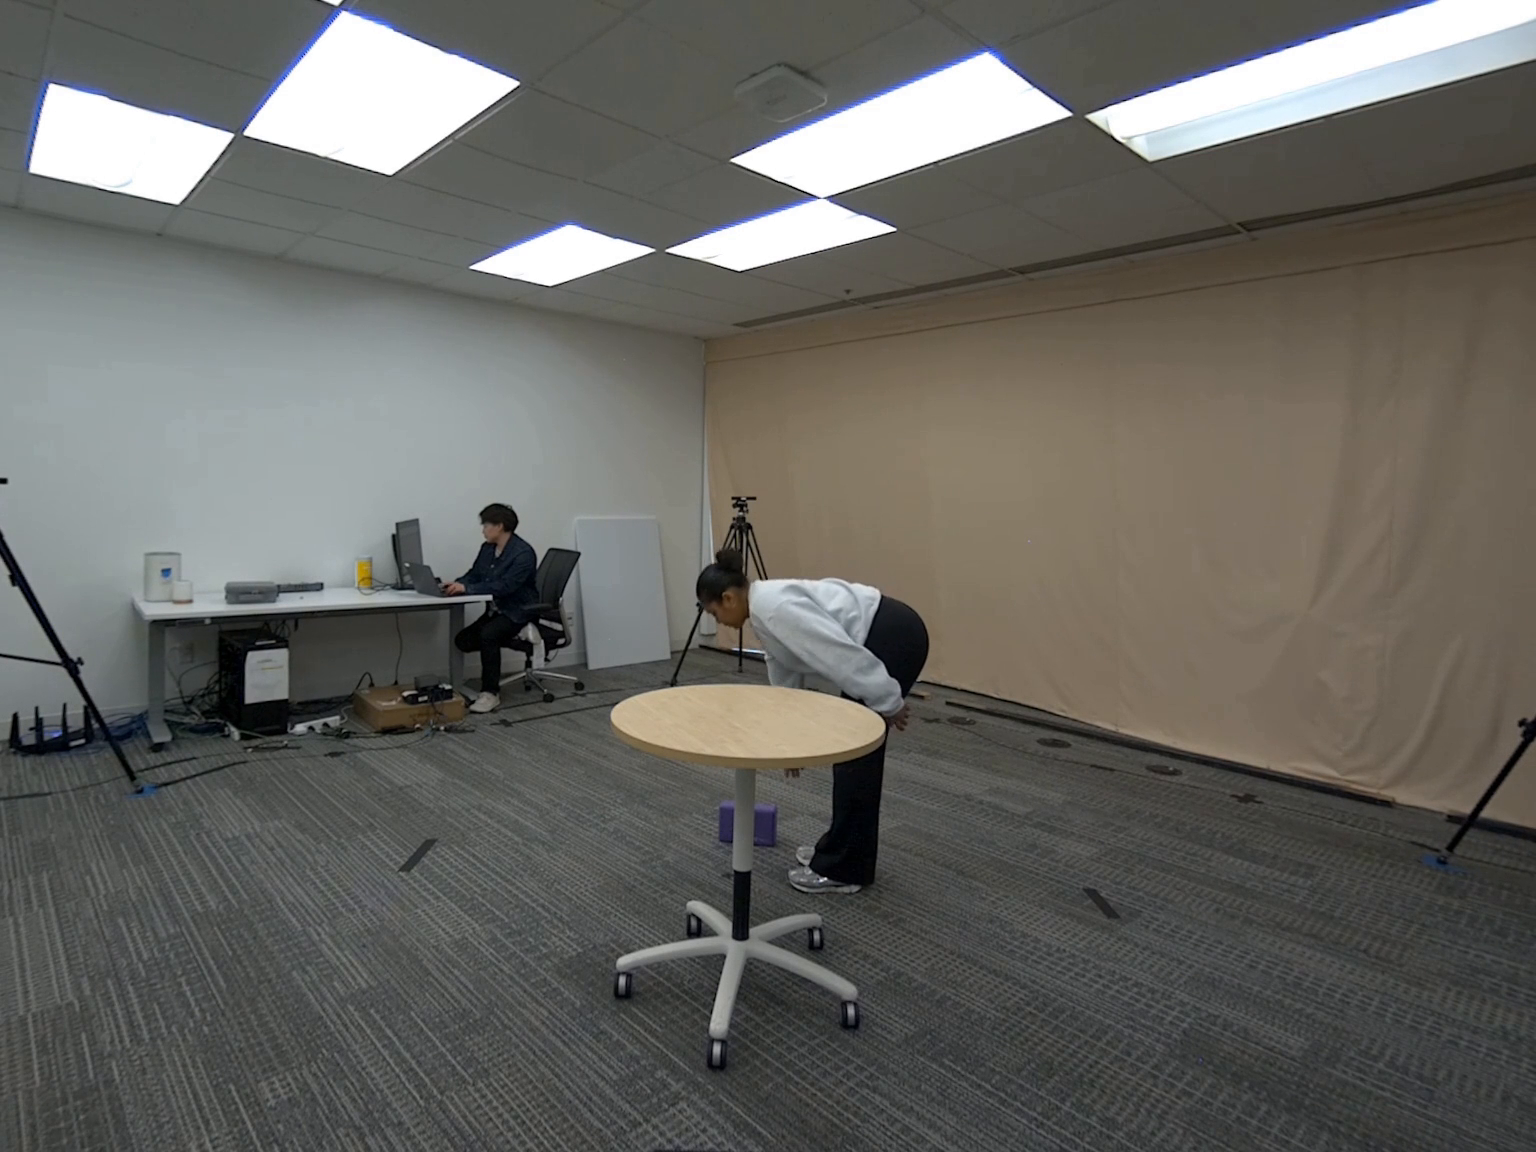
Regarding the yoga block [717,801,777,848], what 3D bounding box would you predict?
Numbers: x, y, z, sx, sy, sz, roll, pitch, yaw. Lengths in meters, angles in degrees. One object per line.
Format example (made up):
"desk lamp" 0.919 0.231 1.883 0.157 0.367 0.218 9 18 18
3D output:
"yoga block" -0.091 1.004 3.424 0.232 0.149 0.075 1 1 13
